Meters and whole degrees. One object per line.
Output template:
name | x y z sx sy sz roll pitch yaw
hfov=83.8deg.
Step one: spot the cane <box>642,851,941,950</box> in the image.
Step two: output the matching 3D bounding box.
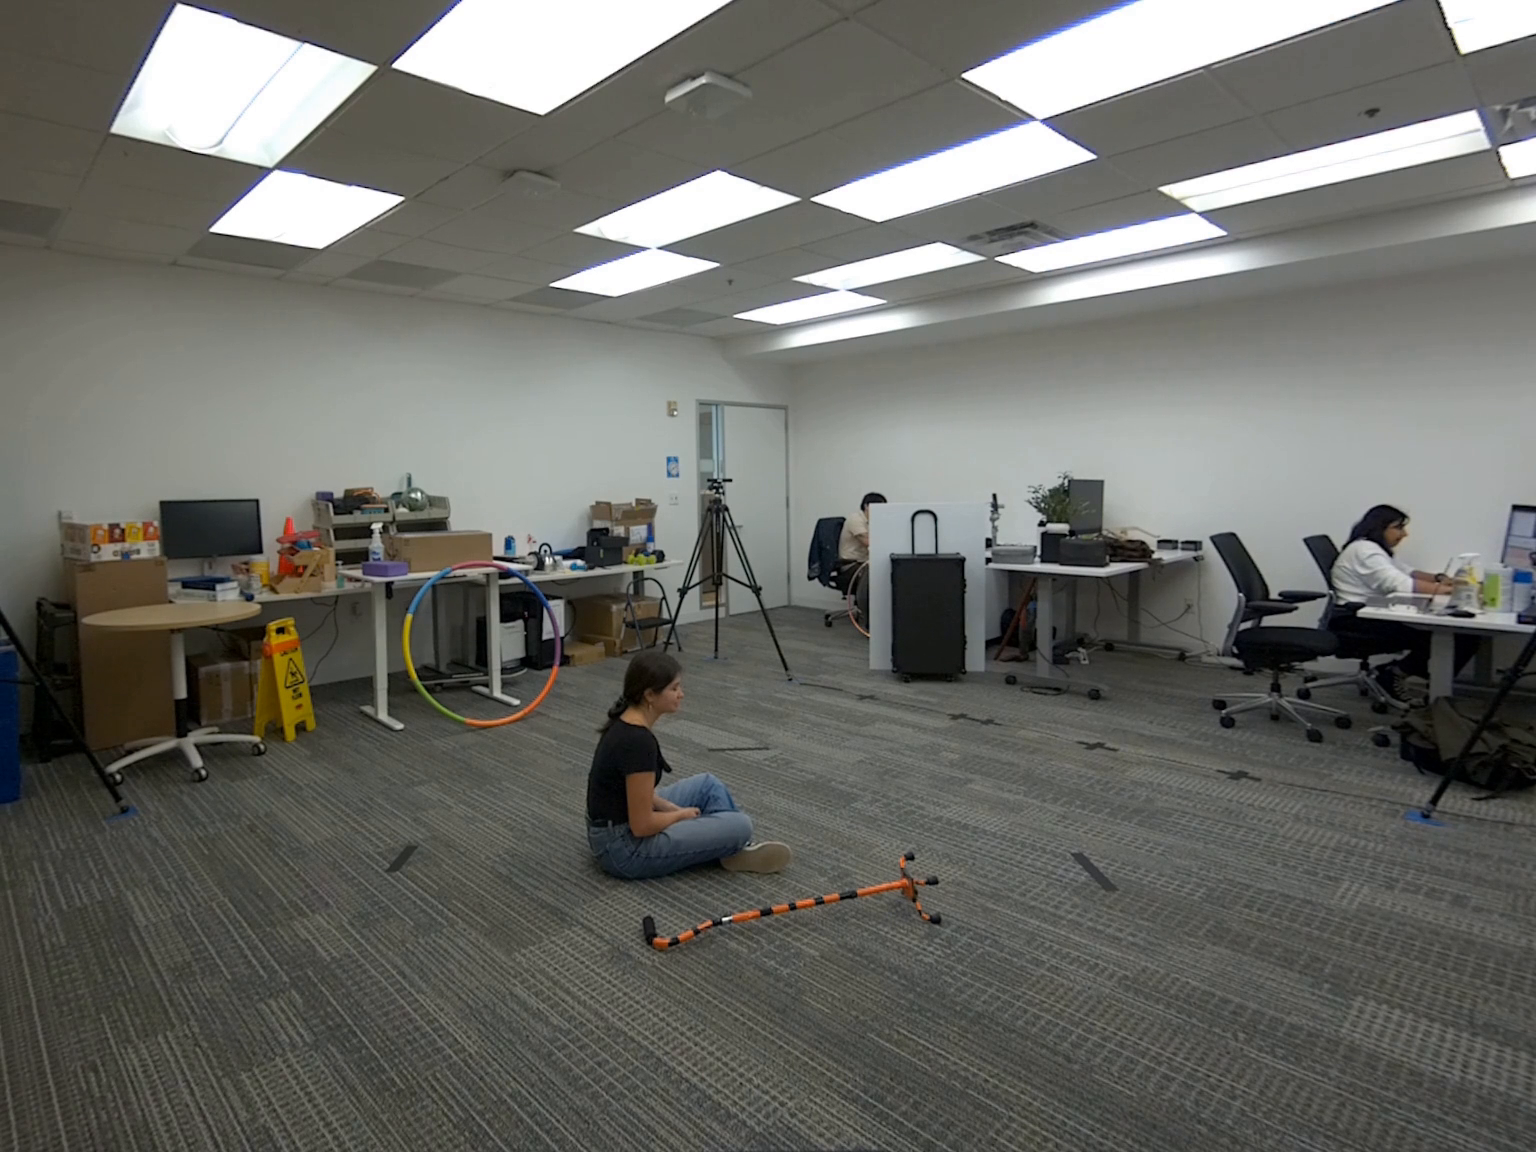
cane | 0.077 1.047 2.678 0.900 0.151 0.209 -7 7 -10
